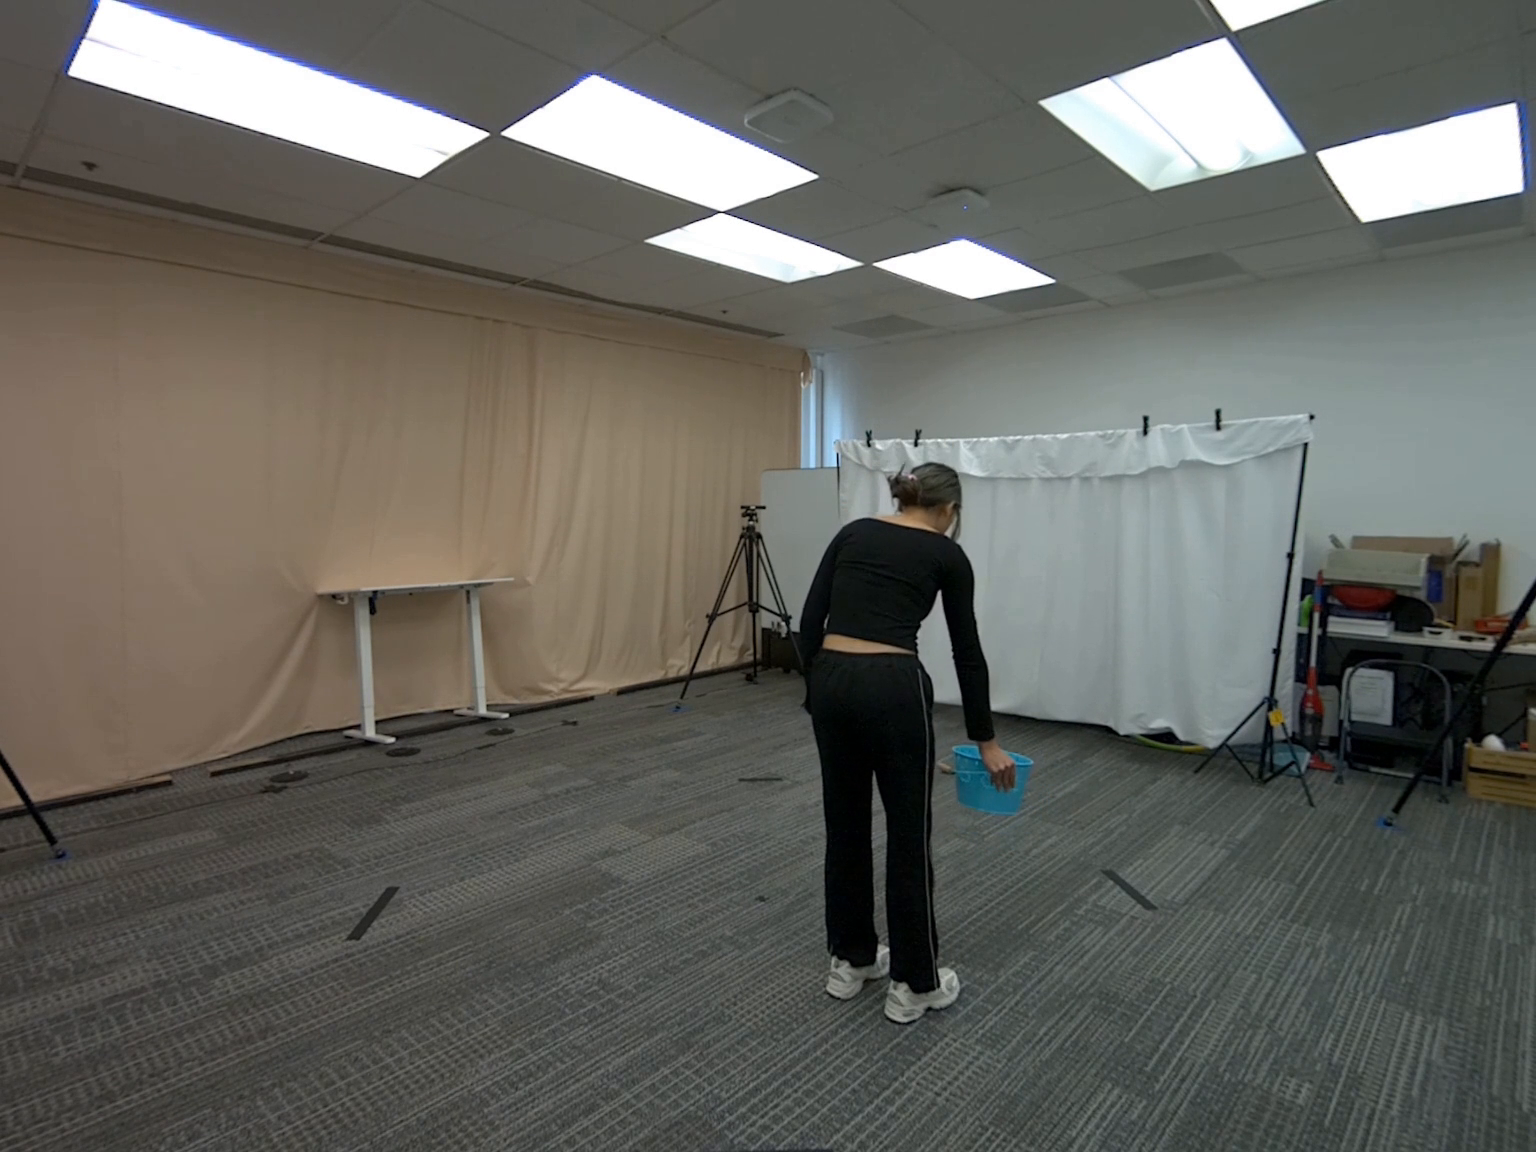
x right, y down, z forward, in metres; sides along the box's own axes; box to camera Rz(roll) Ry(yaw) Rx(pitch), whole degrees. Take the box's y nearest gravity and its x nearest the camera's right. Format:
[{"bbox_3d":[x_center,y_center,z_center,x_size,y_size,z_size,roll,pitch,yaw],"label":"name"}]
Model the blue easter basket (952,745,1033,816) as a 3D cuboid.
[{"bbox_3d":[0.691,0.627,2.510,0.243,0.156,0.244,5,0,-2],"label":"blue easter basket"}]
